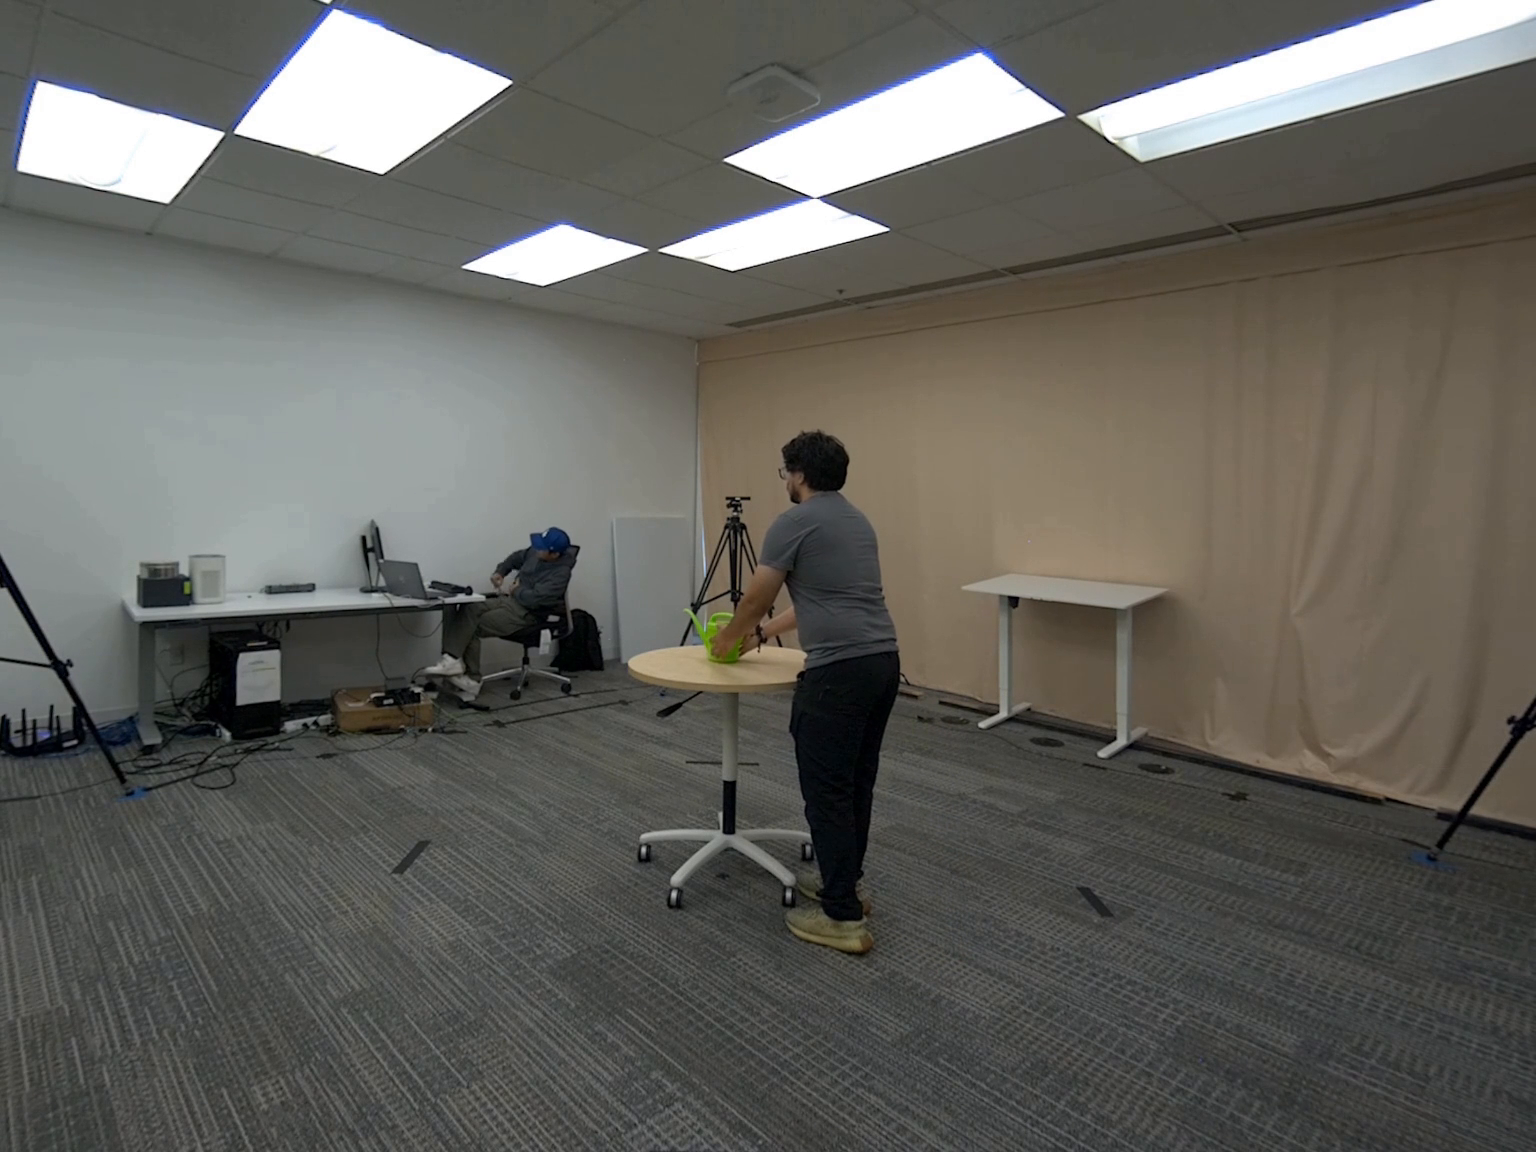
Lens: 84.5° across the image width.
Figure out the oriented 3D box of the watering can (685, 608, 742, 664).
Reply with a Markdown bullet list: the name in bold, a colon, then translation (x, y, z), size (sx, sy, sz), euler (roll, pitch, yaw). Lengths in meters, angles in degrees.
- **watering can**: translation (-0.203, 0.220, 3.180), size (0.096, 0.176, 0.285), euler (-3, 6, -43)
